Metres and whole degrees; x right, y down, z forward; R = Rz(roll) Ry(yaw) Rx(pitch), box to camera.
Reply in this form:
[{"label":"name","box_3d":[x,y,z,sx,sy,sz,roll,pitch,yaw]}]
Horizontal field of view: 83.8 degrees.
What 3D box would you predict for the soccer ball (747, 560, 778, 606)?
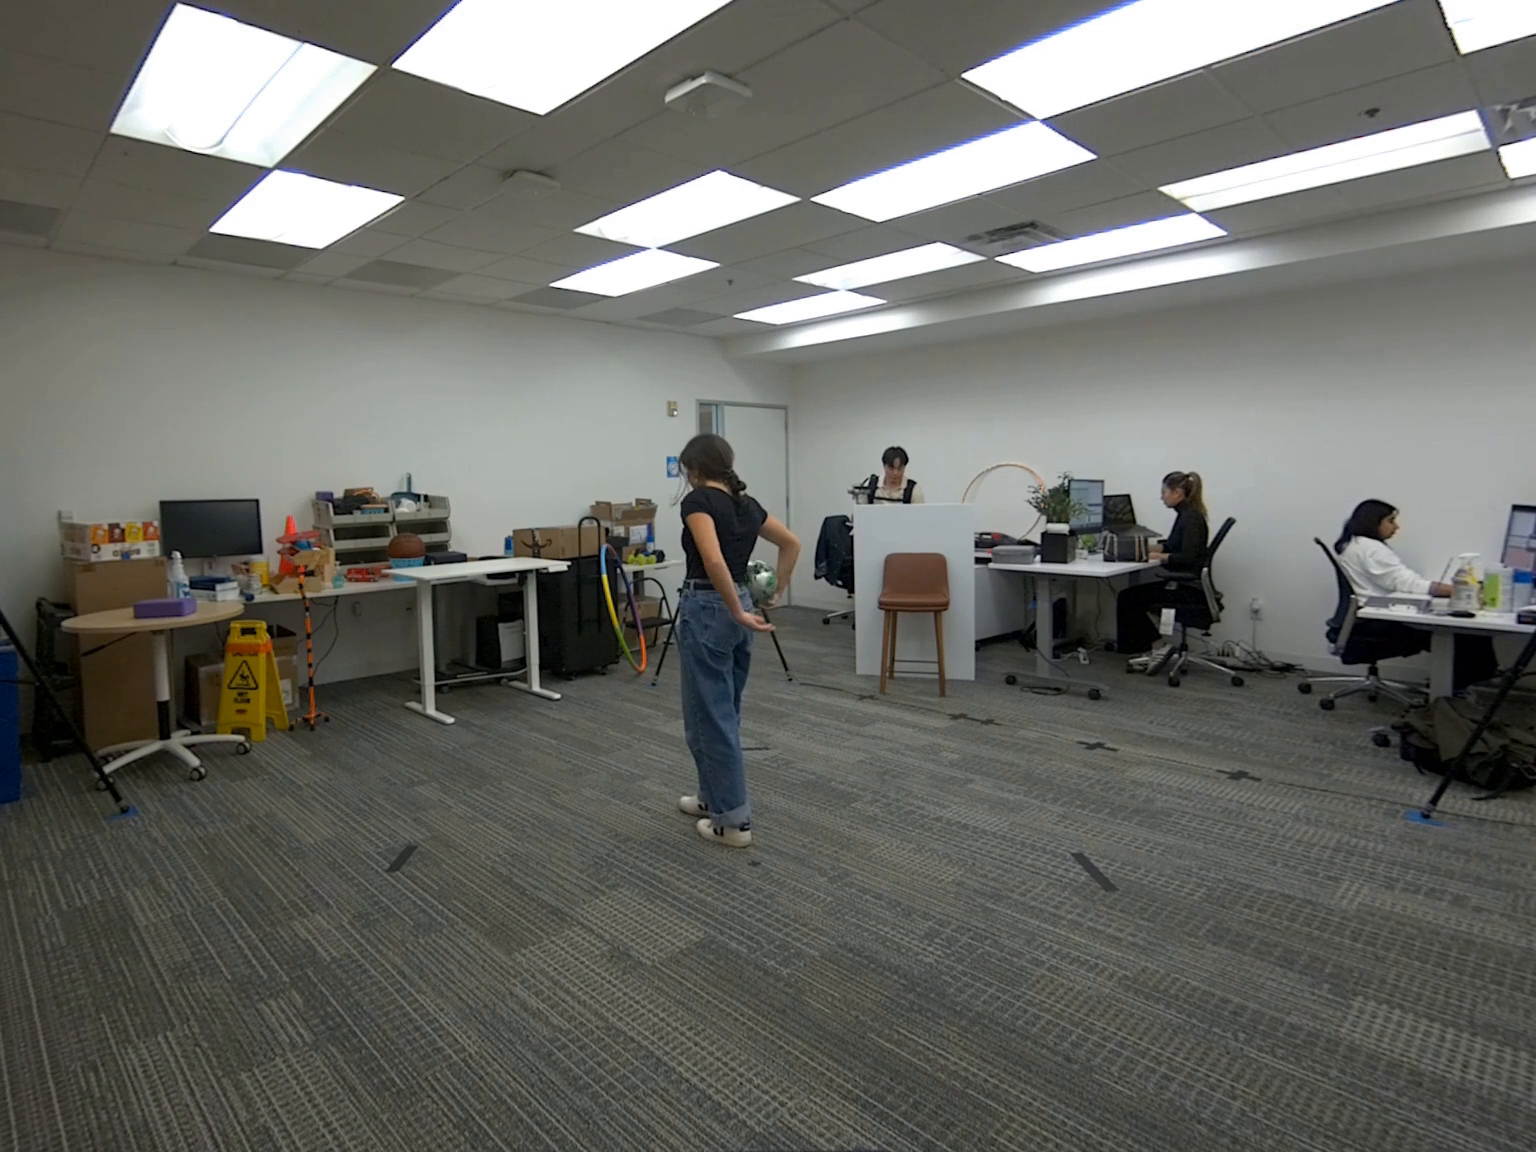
[{"label":"soccer ball","box_3d":[-0.048,0.035,3.532,0.187,0.187,0.188,-1,5,-2]}]
